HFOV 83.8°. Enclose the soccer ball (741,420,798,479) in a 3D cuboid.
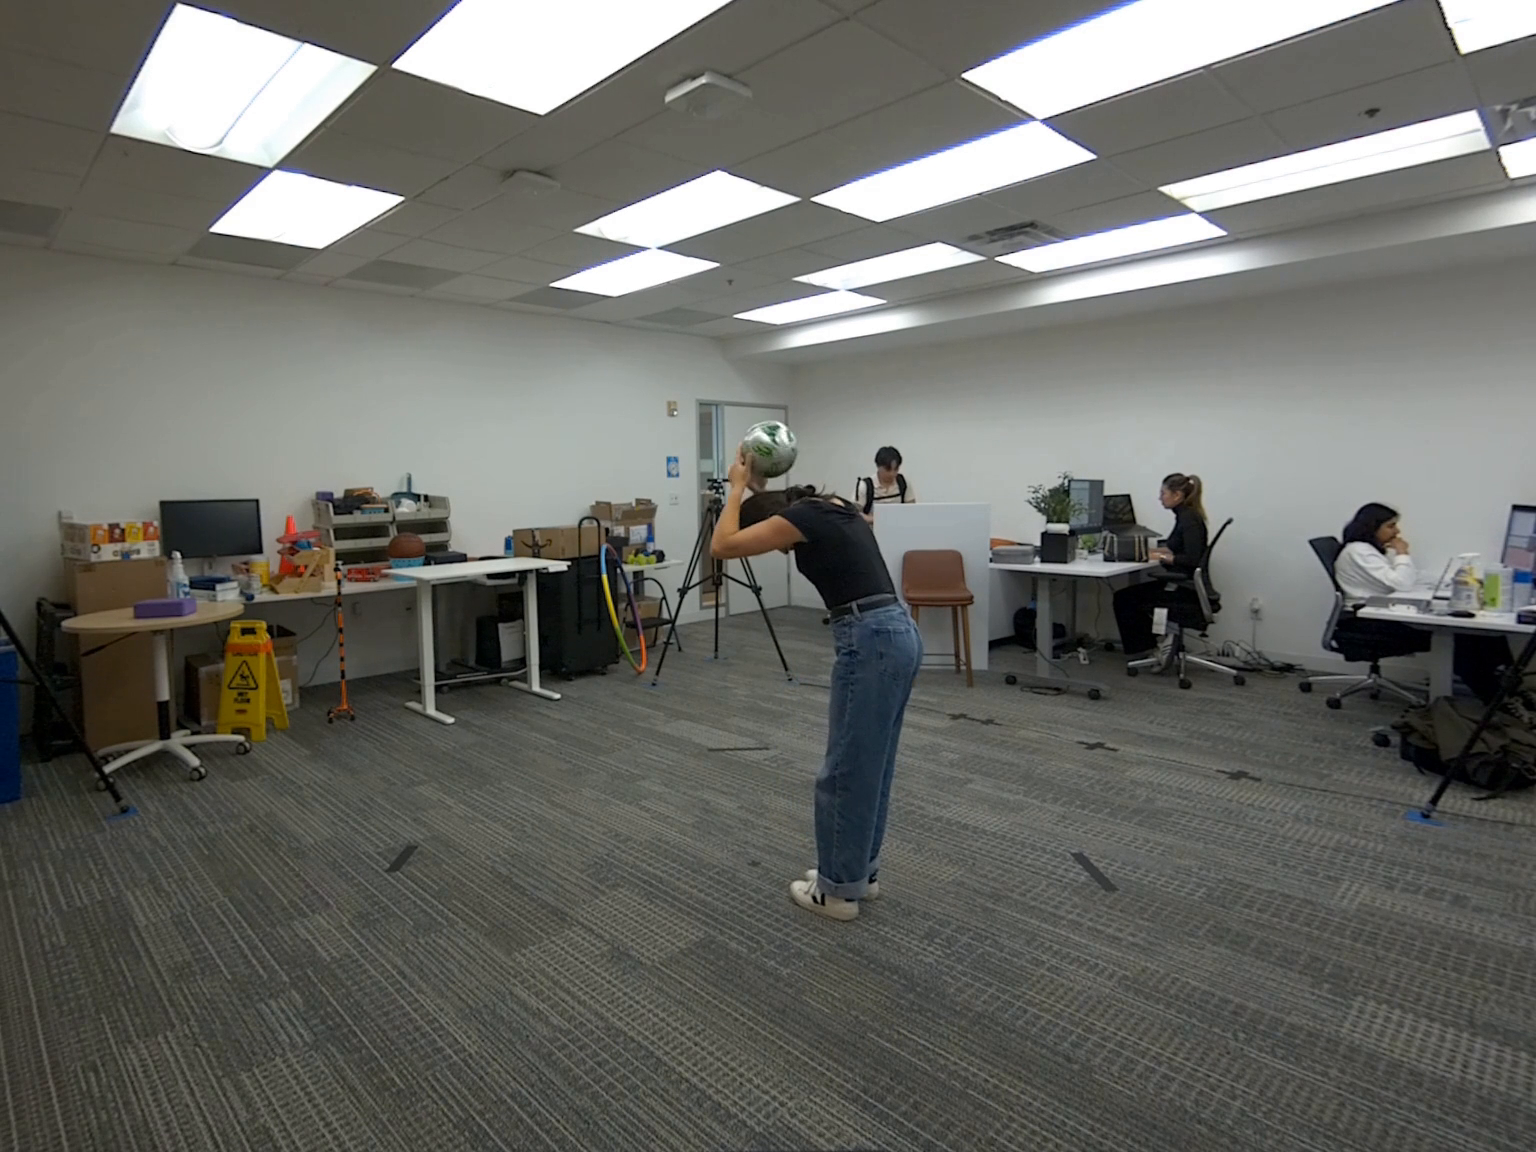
[{"bbox_3d":[0.014,-0.414,2.815,0.187,0.187,0.188,-1,5,-2],"label":"soccer ball"}]
